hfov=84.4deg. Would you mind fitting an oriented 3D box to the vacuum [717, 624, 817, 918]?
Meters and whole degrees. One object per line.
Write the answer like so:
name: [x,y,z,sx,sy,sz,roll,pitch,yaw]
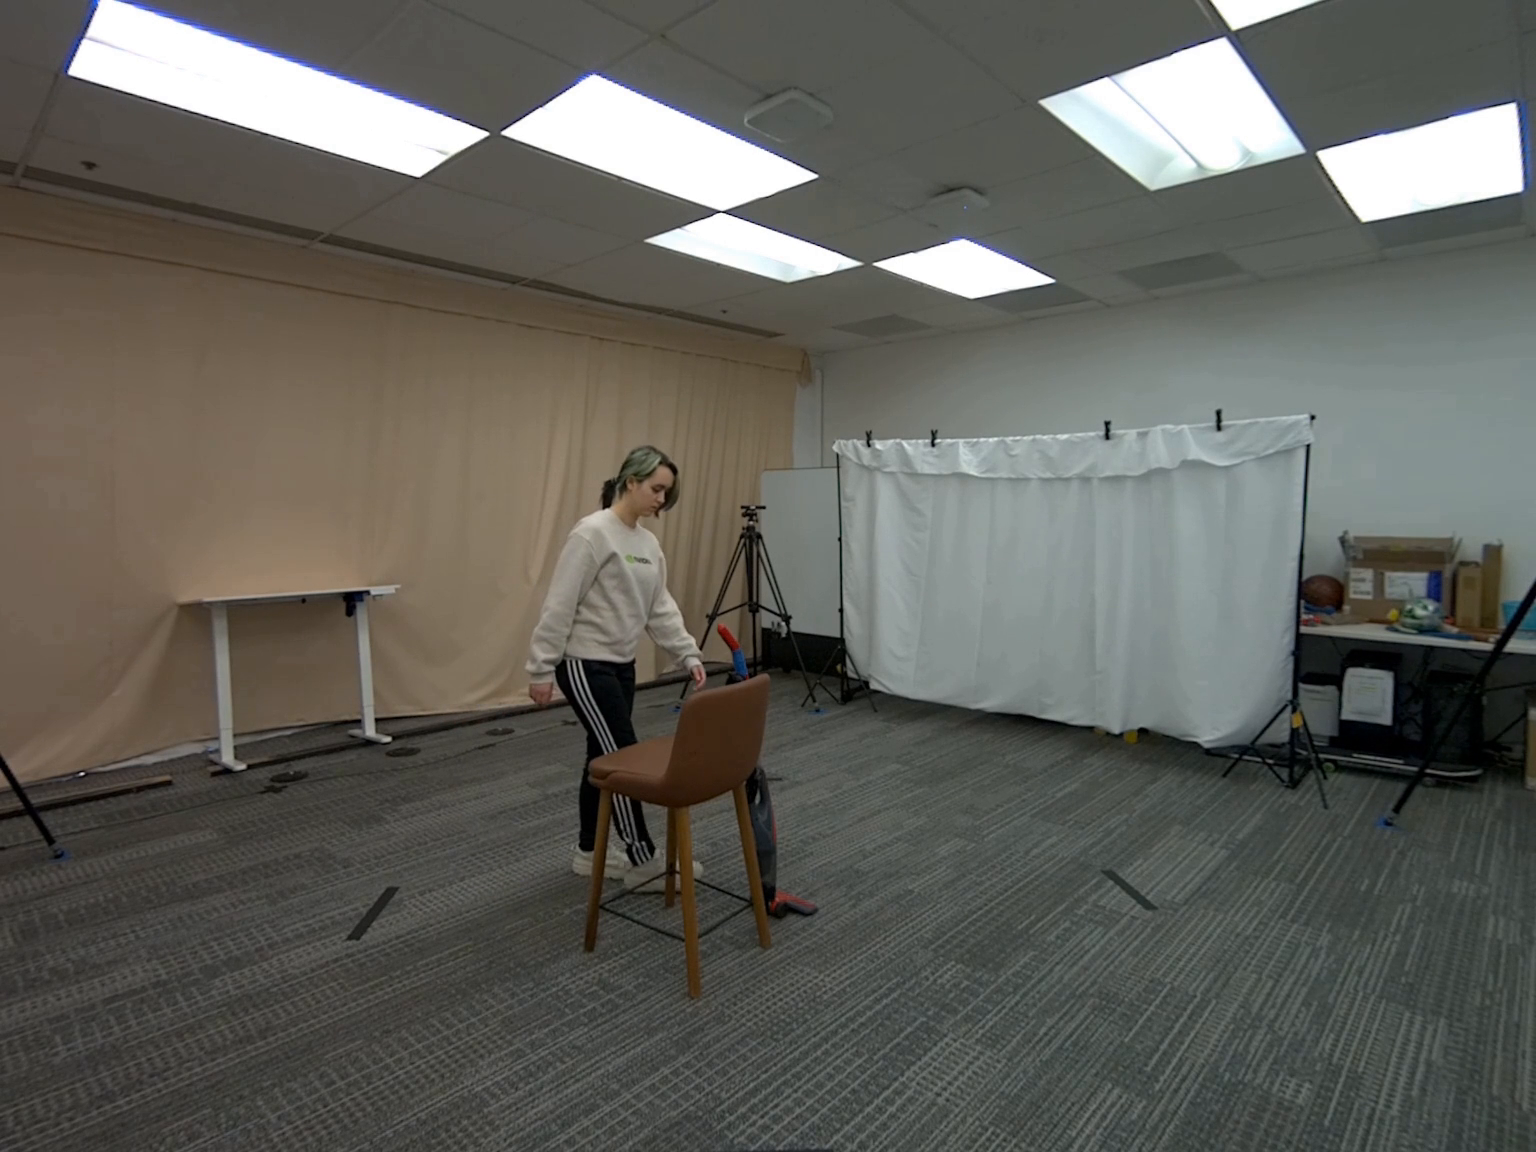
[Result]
vacuum: [-0.051,0.651,2.787,0.141,1.038,0.261,-21,17,-38]
